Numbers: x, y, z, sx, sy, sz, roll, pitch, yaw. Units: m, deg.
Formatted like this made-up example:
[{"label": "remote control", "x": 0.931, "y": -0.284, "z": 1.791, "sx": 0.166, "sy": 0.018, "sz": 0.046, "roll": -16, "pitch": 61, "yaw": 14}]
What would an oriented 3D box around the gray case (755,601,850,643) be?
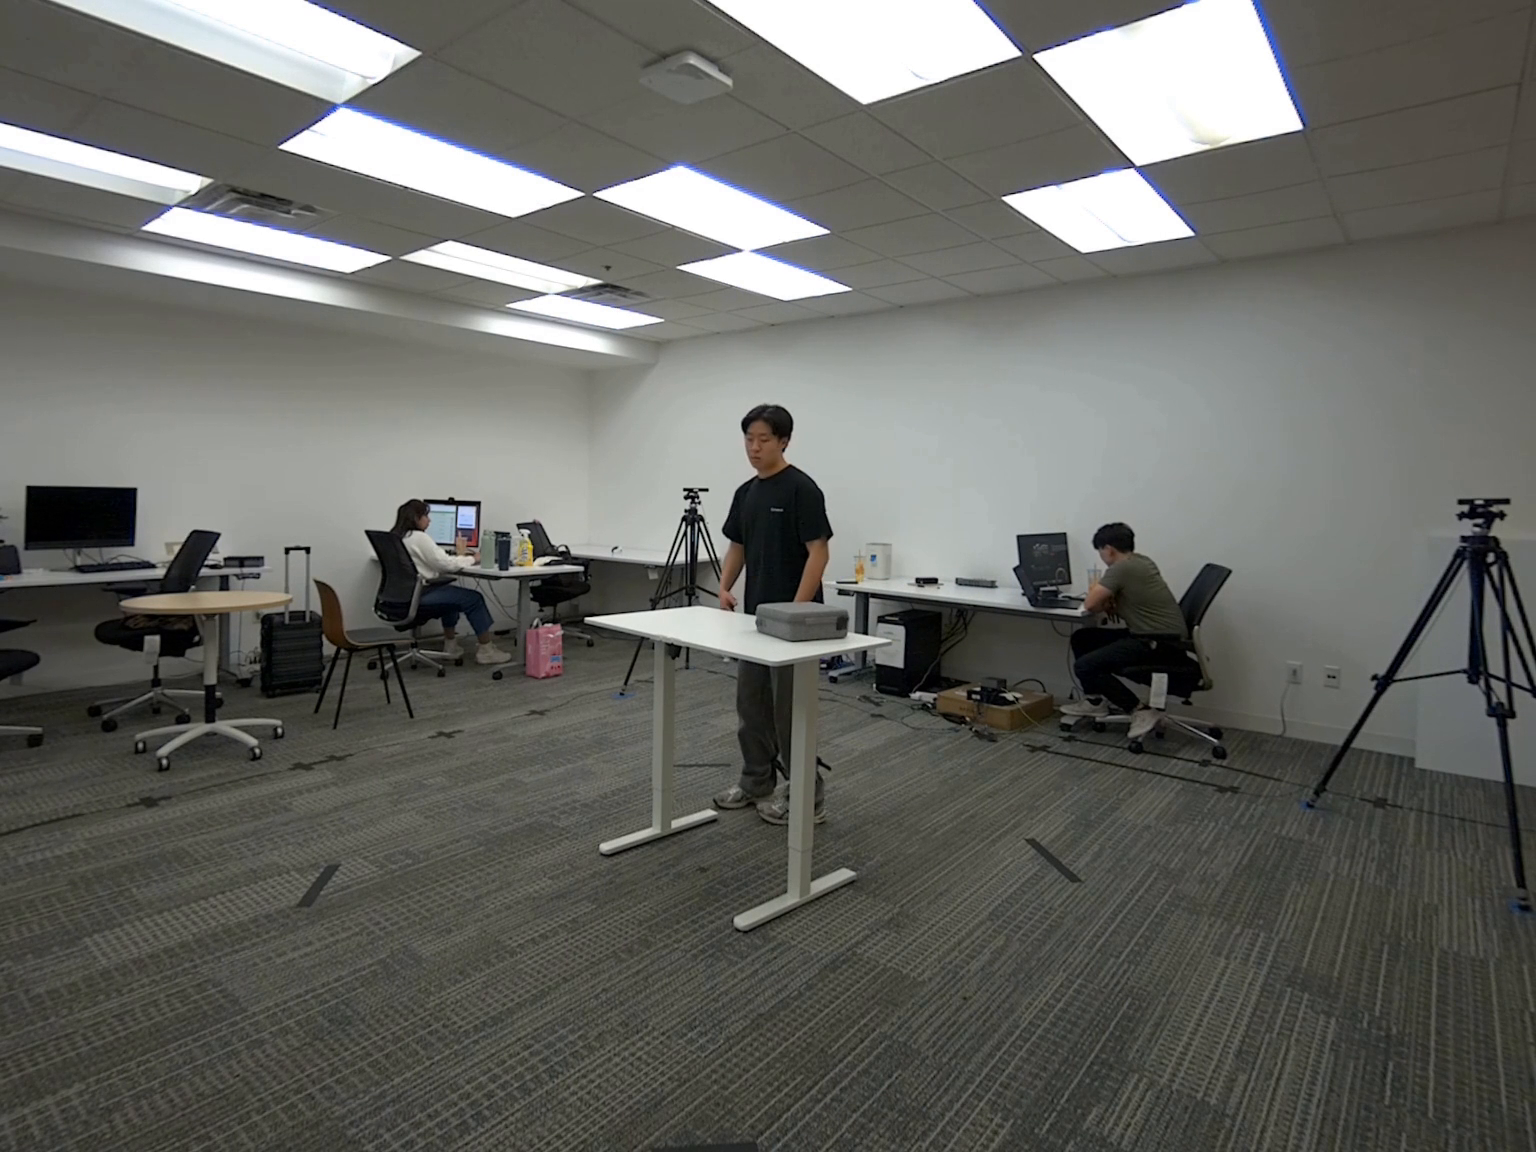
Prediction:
[{"label": "gray case", "x": 0.099, "y": 0.150, "z": 3.009, "sx": 0.256, "sy": 0.103, "sz": 0.296, "roll": -2, "pitch": 6, "yaw": -30}]
